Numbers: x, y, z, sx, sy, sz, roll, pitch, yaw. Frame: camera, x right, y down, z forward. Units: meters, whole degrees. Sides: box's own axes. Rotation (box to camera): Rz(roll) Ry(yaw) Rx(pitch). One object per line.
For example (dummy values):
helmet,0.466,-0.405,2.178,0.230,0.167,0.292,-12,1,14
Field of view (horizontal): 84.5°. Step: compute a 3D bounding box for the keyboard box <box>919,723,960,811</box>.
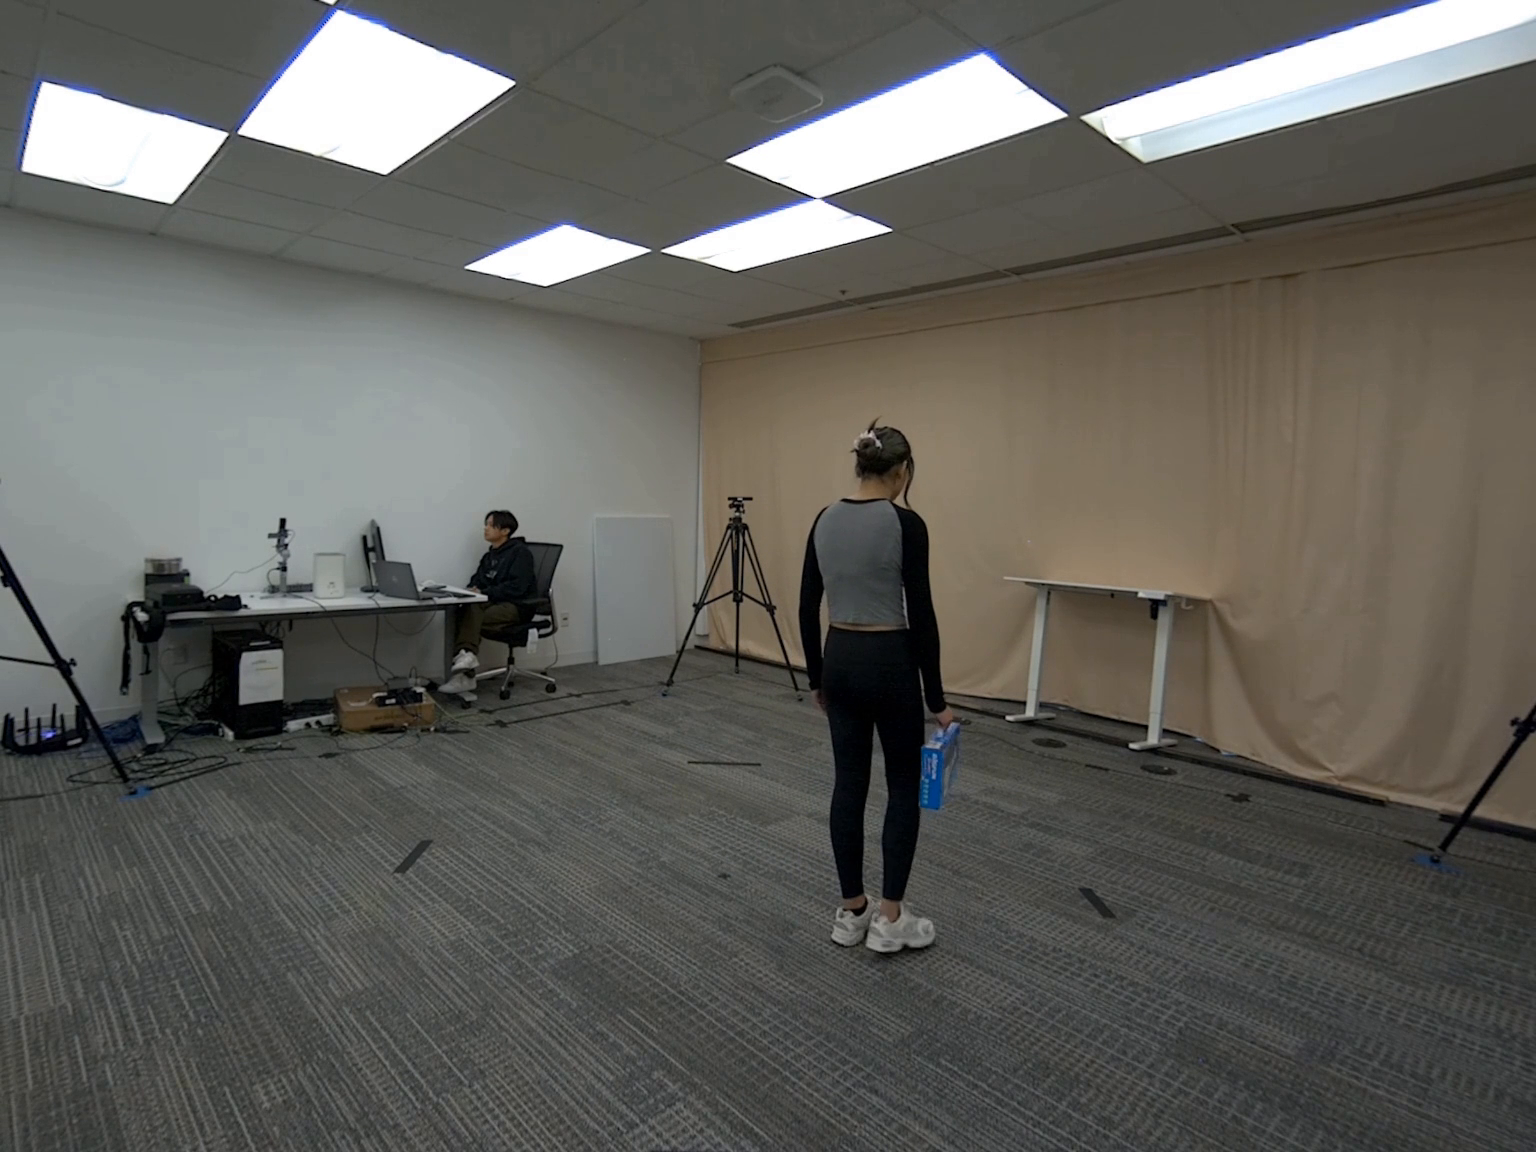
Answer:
keyboard box,0.525,0.575,2.602,0.060,0.176,0.430,3,3,19
